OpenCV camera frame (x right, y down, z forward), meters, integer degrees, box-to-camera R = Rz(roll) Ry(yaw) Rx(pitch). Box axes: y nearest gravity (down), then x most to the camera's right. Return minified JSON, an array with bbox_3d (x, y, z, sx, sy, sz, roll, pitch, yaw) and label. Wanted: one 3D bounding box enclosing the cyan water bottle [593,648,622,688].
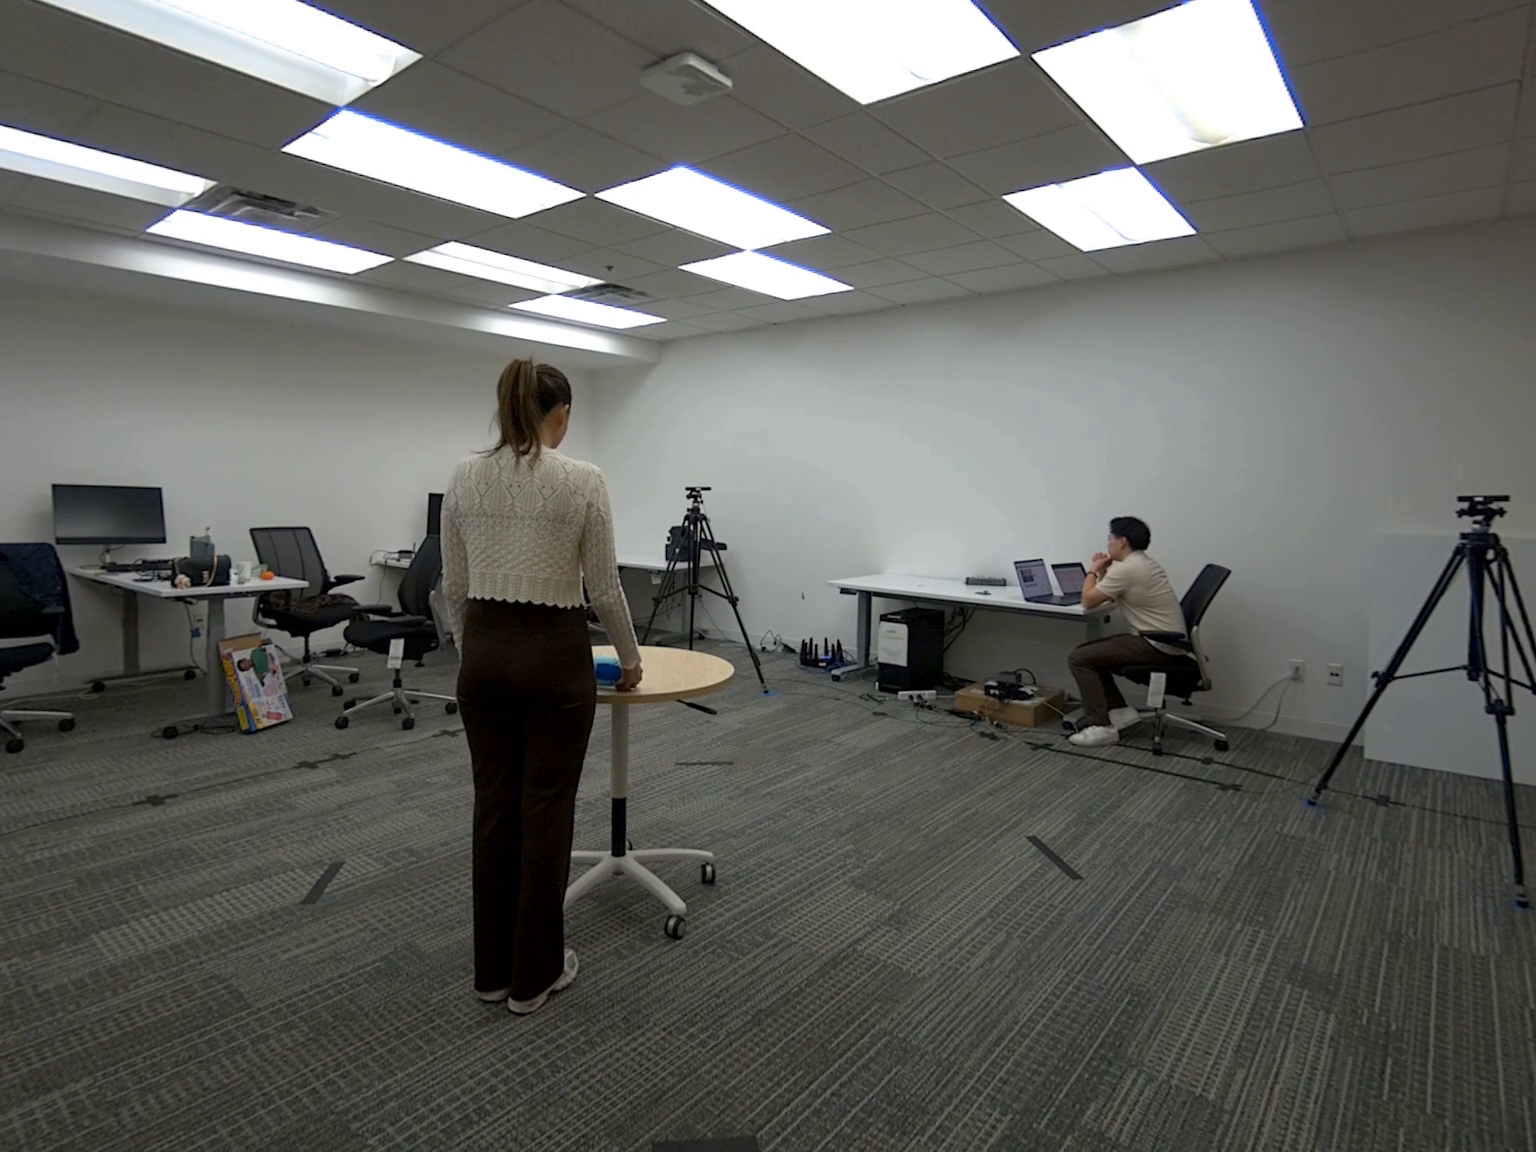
[{"bbox_3d":[-0.558,0.284,2.571,0.287,0.092,0.091,2,4,10],"label":"cyan water bottle"}]
